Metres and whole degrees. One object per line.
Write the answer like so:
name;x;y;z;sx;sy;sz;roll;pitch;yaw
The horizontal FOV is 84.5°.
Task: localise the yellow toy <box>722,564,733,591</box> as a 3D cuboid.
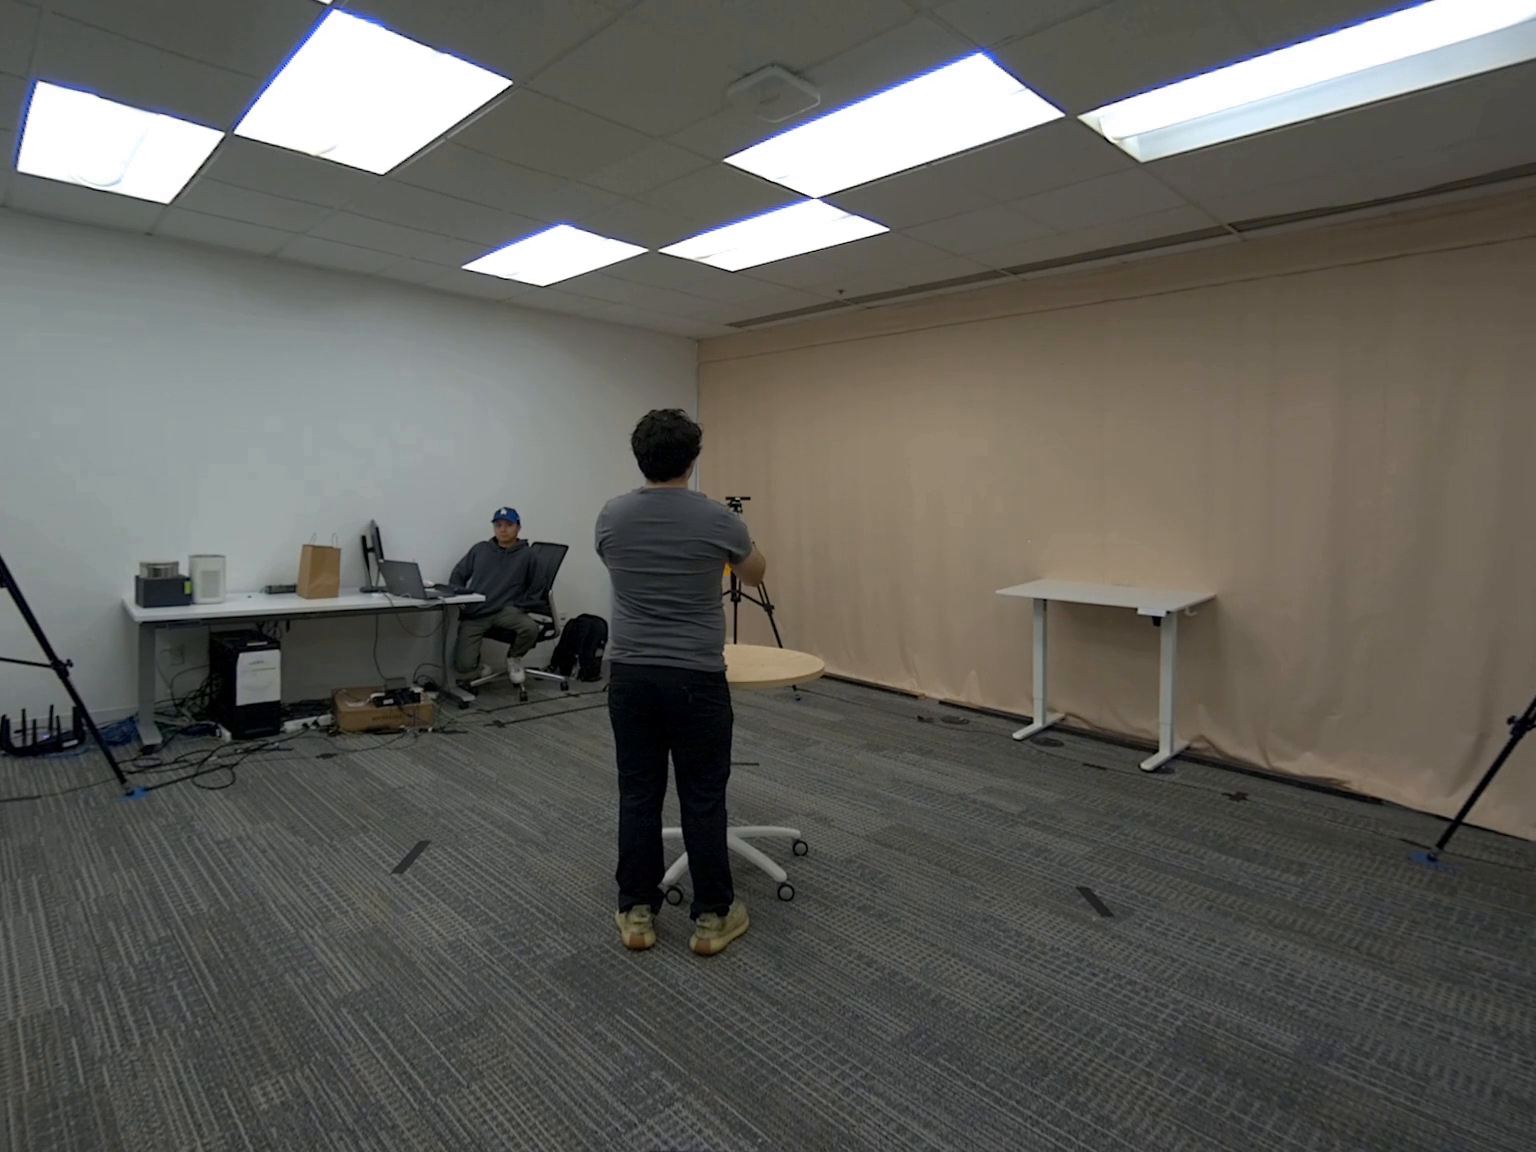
yellow toy;-0.216;-0.137;3.155;0.206;0.188;0.234;5;47;9
